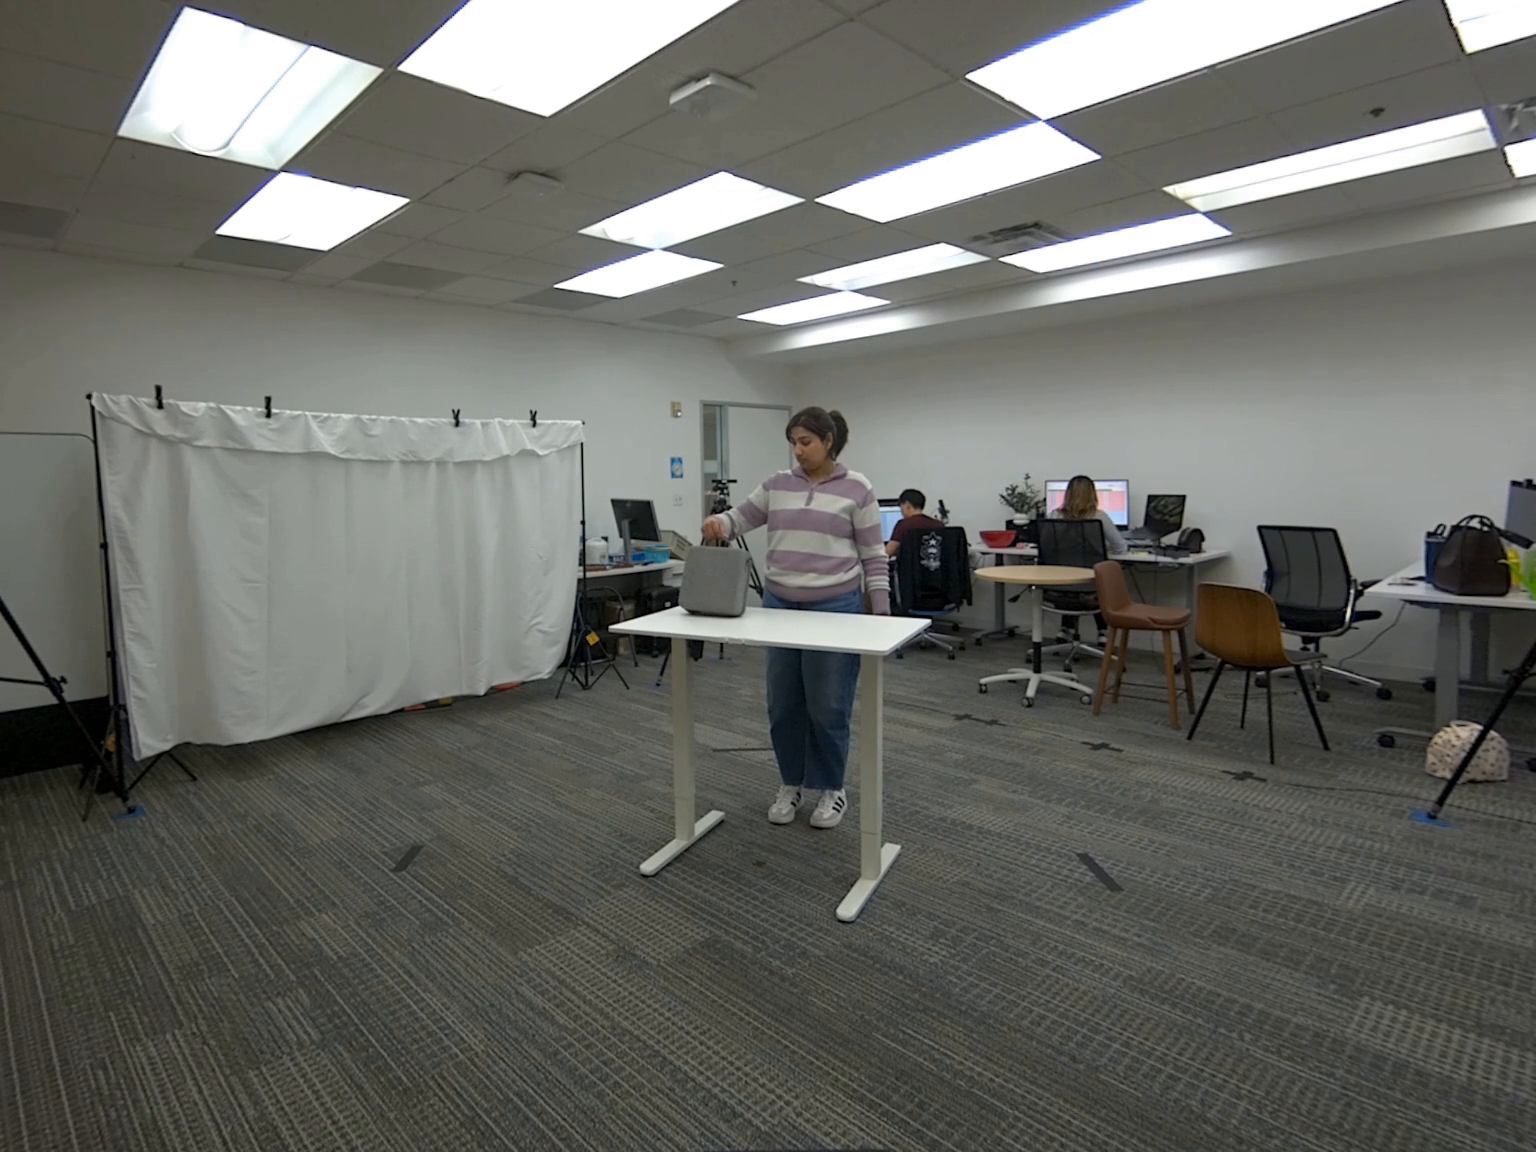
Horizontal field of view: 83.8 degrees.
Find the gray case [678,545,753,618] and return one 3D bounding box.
[{"bbox_3d":[-0.193,0.016,3.244,0.263,0.263,0.101,2,-12,25],"label":"gray case"}]
